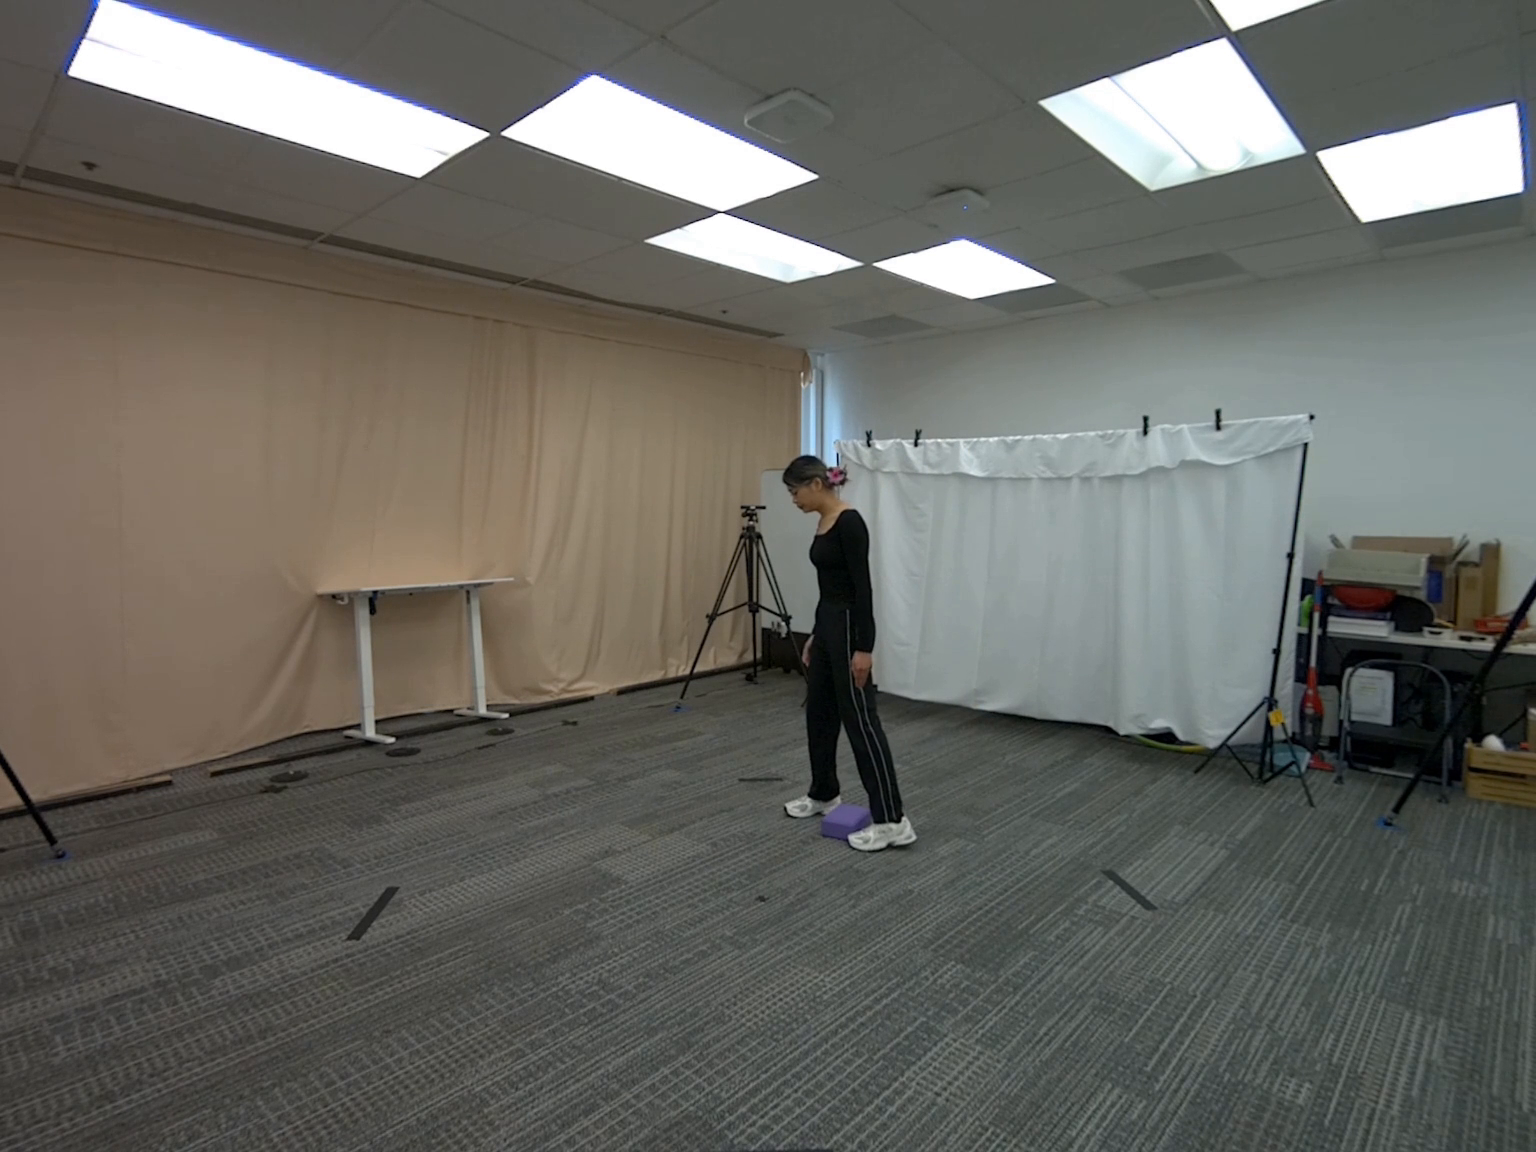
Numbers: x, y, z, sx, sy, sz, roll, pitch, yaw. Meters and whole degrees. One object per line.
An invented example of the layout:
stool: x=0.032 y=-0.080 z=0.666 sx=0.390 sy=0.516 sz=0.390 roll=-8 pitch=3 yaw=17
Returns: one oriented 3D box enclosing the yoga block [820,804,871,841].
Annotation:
yoga block: x=0.337 y=1.046 z=3.606 sx=0.153 sy=0.076 sz=0.224 roll=2 pitch=6 yaw=28
